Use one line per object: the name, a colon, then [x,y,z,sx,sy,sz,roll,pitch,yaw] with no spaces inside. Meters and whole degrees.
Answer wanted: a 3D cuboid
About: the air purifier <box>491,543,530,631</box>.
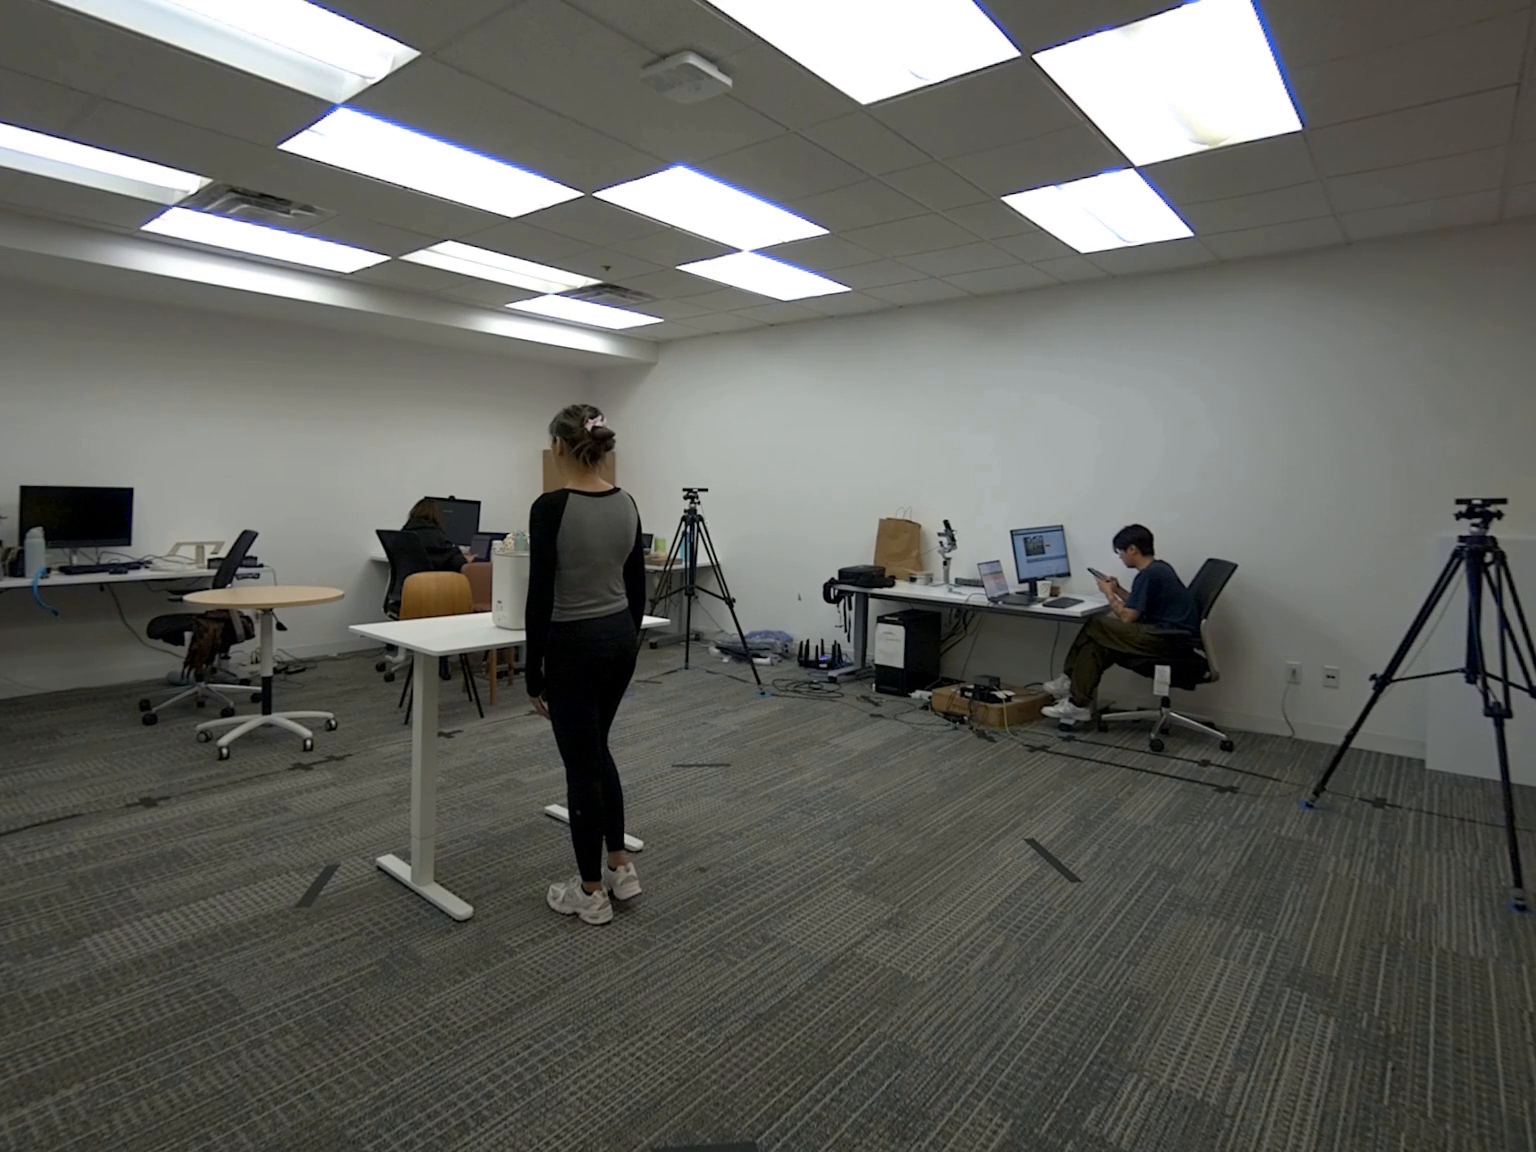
air purifier: [-0.912,0.048,3.066,0.177,0.265,0.166,3,3,41]
